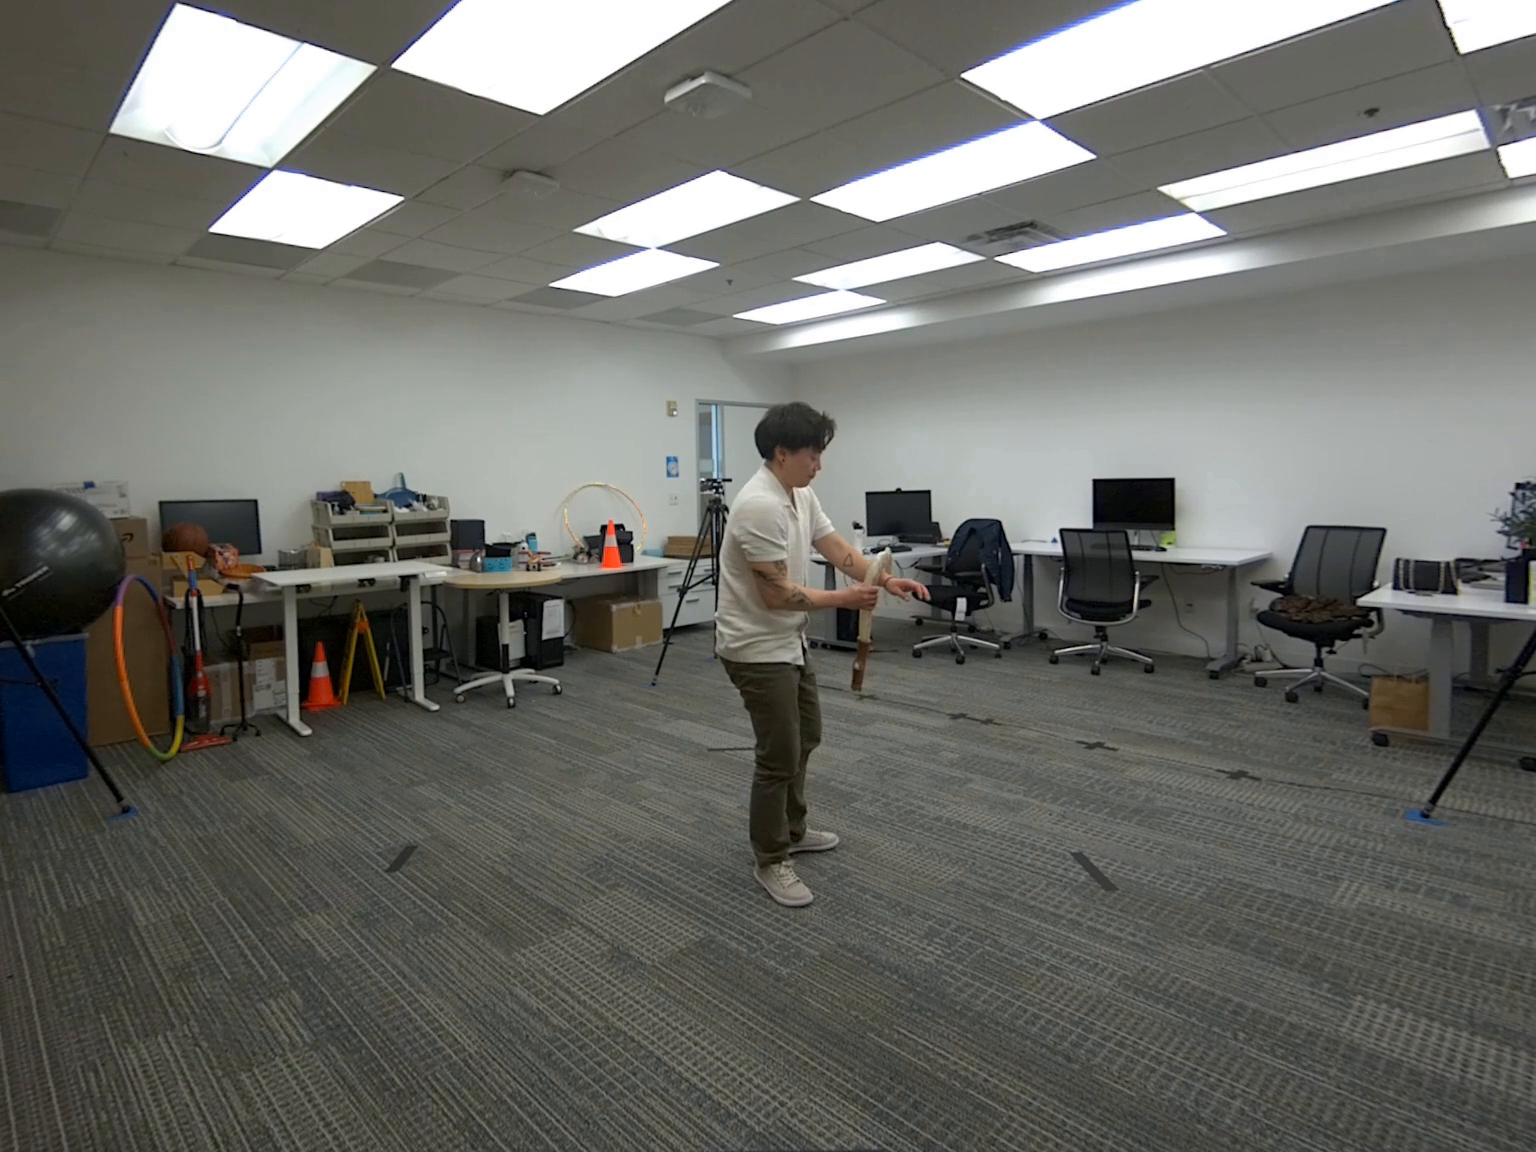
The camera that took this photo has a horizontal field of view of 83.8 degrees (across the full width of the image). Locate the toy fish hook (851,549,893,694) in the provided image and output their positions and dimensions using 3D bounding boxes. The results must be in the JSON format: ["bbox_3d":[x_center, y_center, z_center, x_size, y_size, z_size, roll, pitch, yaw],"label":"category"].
[{"bbox_3d":[0.351,0.154,2.903,0.050,0.499,0.221,19,24,29],"label":"toy fish hook"}]
